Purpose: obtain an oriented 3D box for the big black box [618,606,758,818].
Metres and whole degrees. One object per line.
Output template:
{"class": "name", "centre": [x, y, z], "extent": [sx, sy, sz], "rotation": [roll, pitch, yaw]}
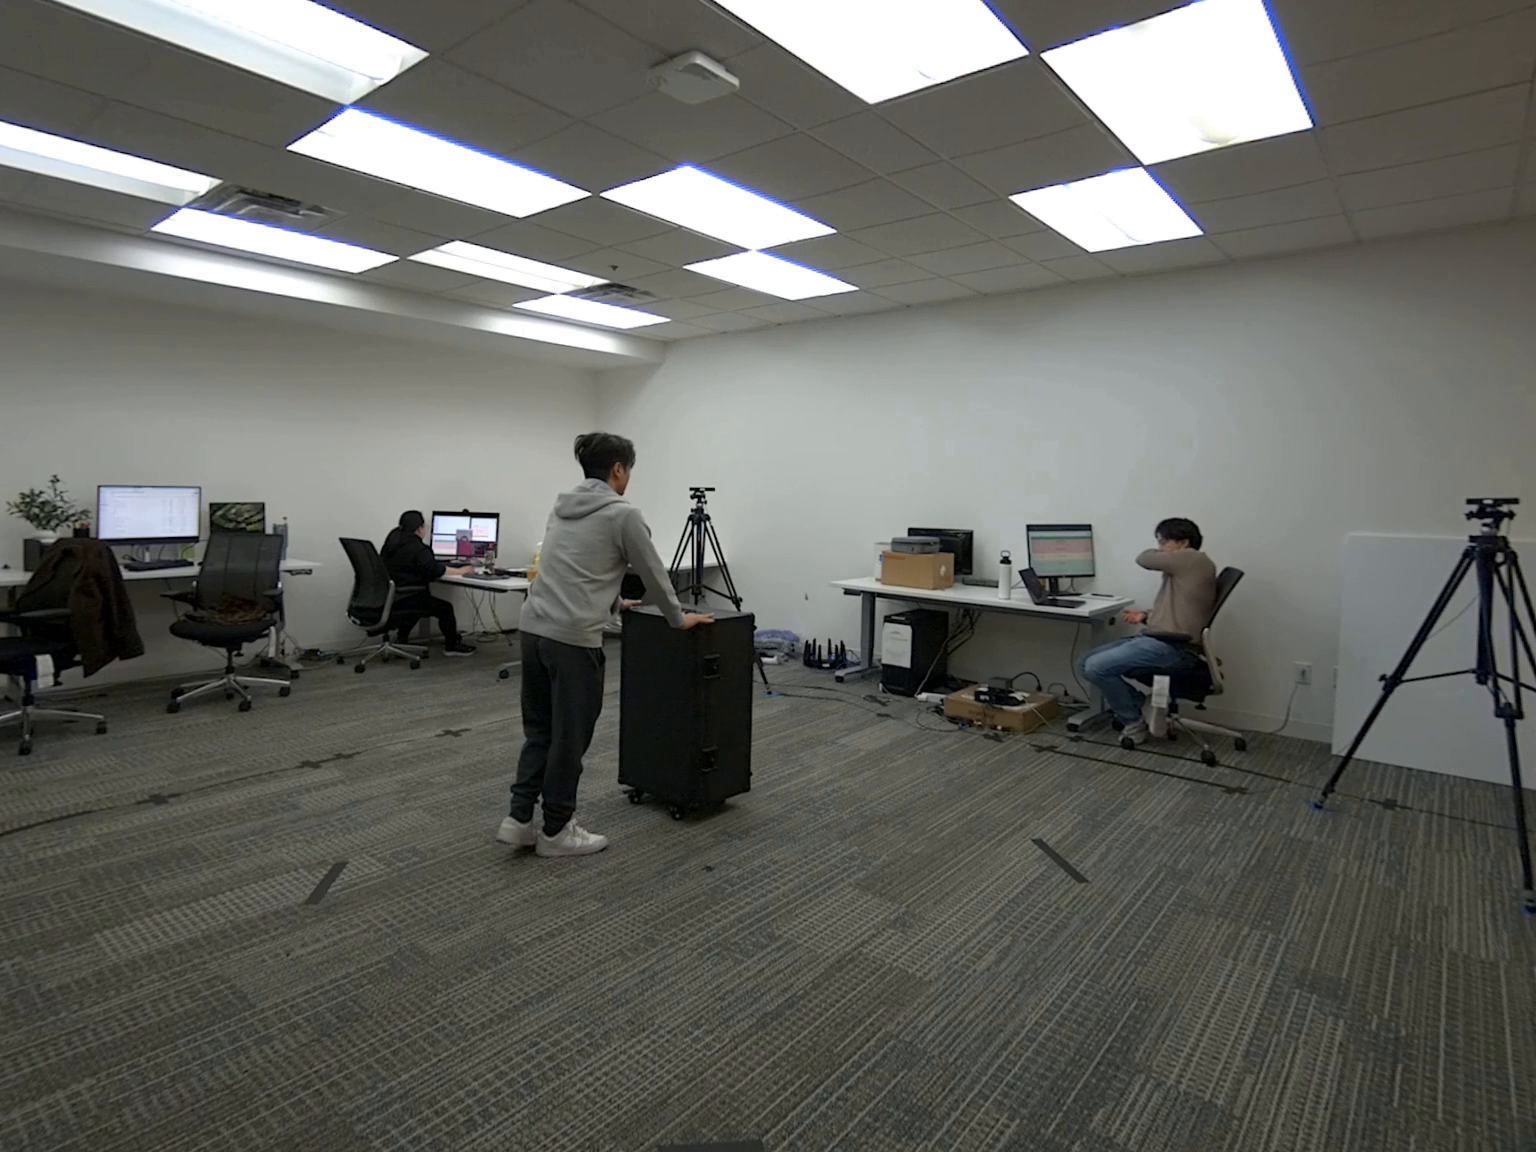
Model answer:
{"class": "big black box", "centre": [-0.374, 0.574, 3.758], "extent": [0.539, 0.860, 0.384], "rotation": [4, 3, 42]}
